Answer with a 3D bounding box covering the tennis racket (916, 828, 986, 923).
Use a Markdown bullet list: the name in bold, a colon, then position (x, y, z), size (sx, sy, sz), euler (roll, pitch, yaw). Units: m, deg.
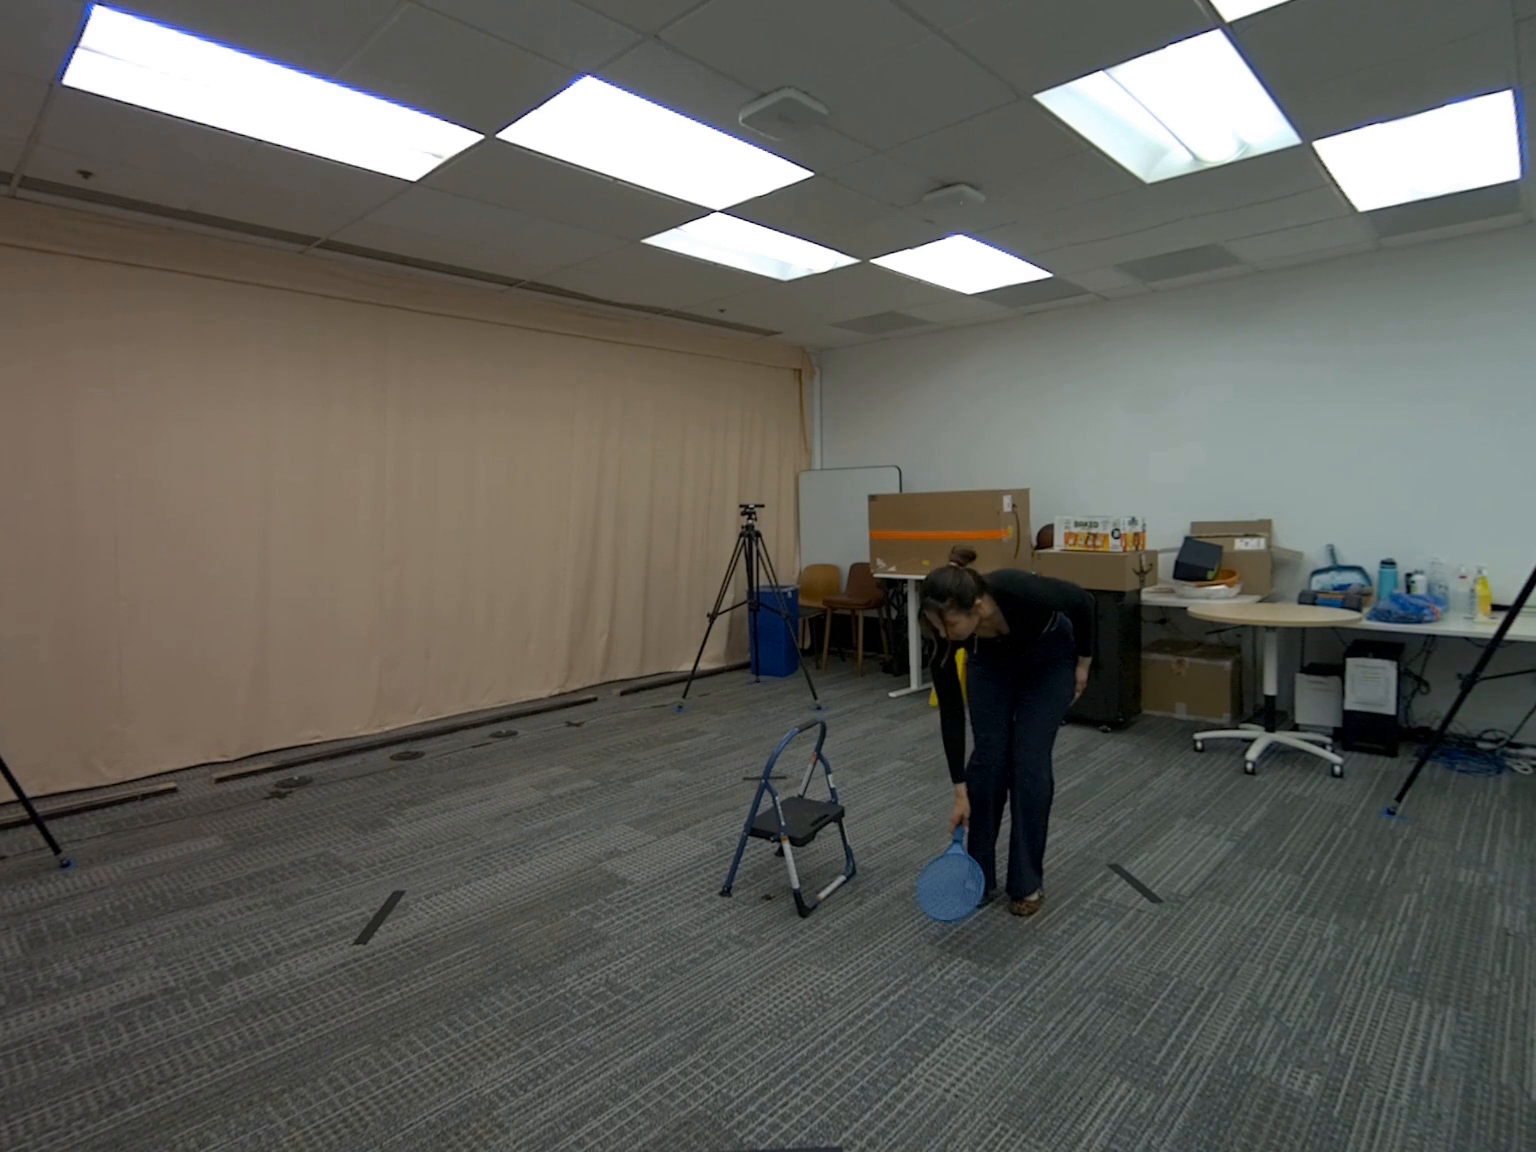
- **tennis racket**: position (0.615, 0.941, 2.729), size (0.219, 0.031, 0.432), euler (-8, 27, 26)
